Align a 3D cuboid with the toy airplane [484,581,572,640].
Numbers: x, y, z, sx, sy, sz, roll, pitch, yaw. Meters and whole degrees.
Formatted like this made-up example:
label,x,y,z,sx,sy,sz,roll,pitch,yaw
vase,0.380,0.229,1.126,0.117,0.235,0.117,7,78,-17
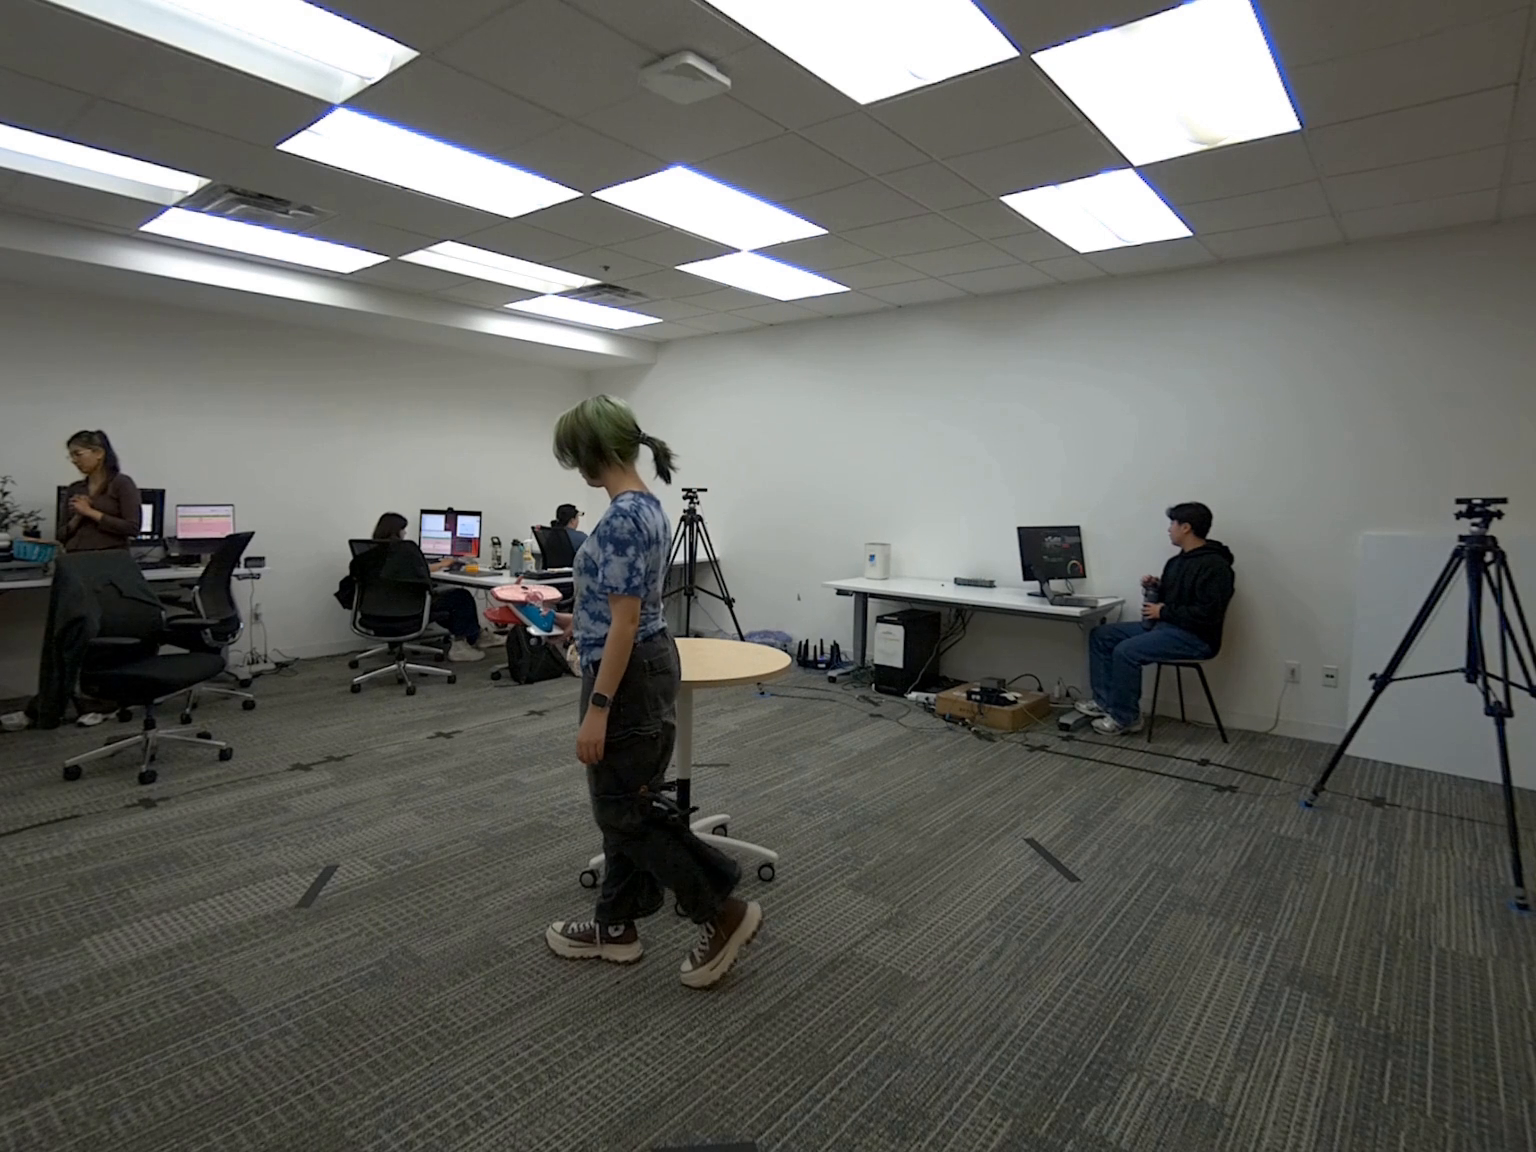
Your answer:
label,x,y,z,sx,sy,sz,roll,pitch,yaw
toy airplane,-0.767,0.122,2.754,0.263,0.155,0.249,14,9,12
